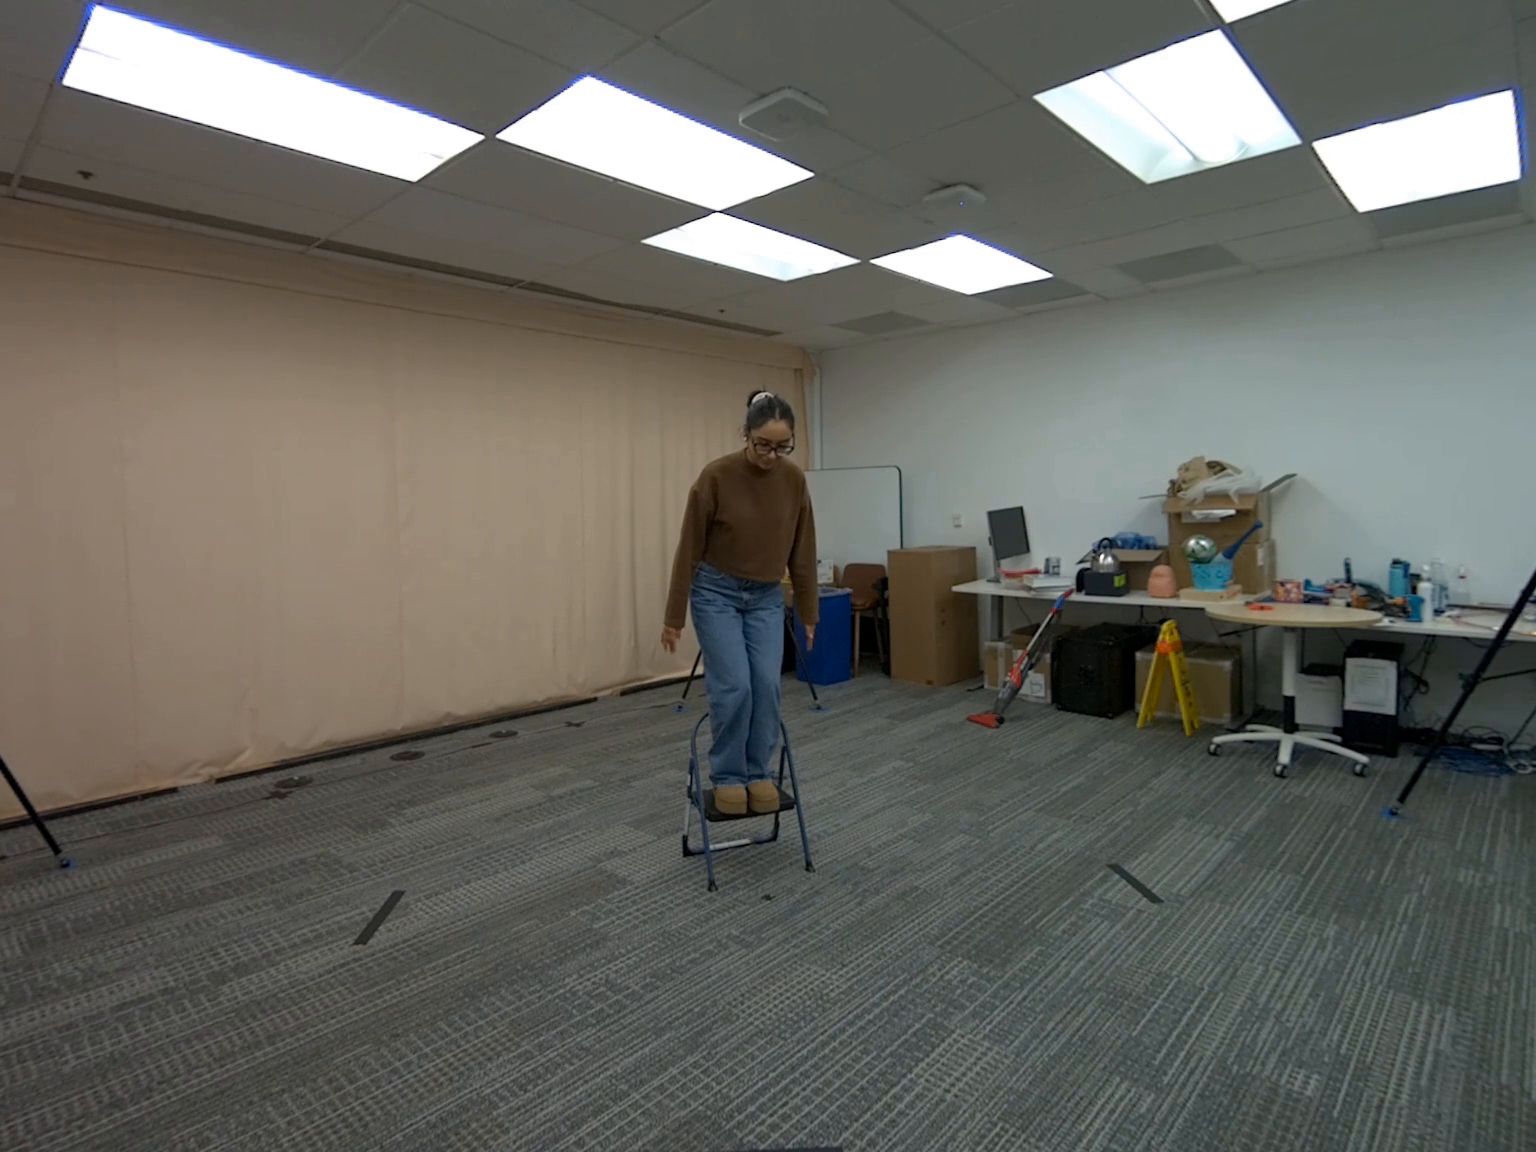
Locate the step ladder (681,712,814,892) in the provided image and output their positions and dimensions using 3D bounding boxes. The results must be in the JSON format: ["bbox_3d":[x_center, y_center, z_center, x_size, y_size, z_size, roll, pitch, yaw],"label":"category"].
[{"bbox_3d":[-0.088,0.819,3.261,0.421,0.605,0.358,-3,4,-23],"label":"step ladder"}]
